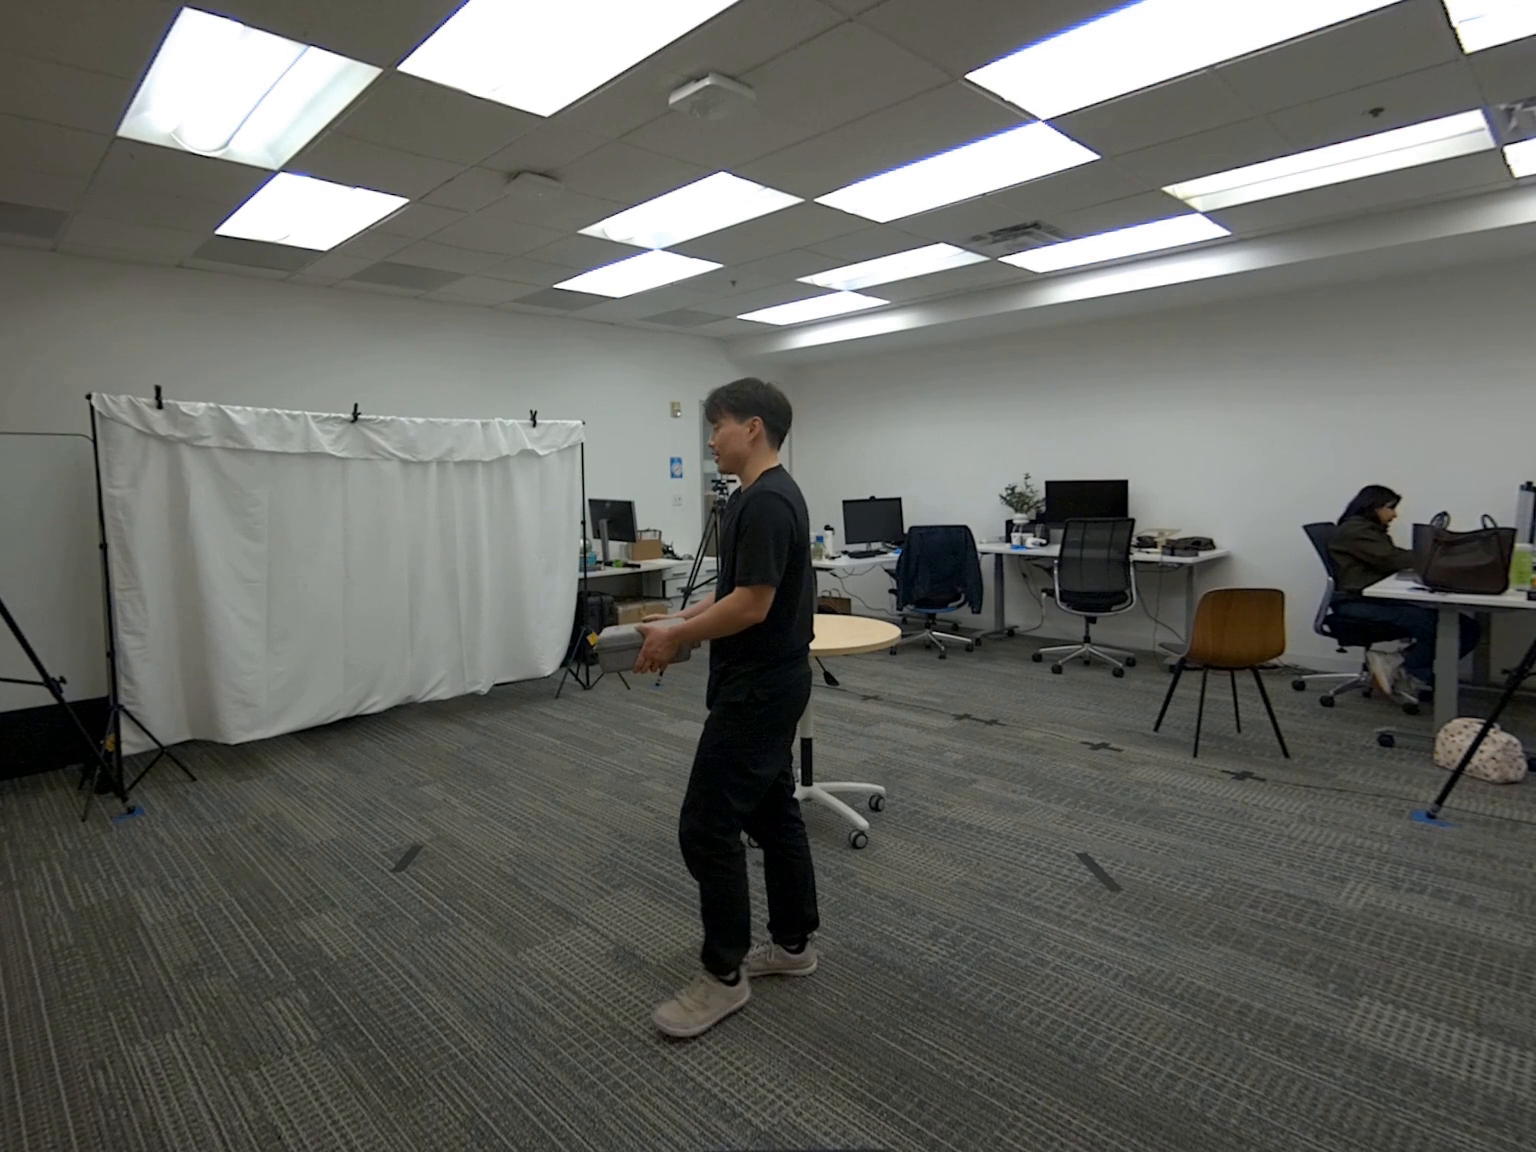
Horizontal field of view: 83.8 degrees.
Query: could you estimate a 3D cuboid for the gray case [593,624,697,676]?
[{"bbox_3d":[-0.337,0.189,2.377,0.260,0.104,0.257,-6,1,-3],"label":"gray case"}]
